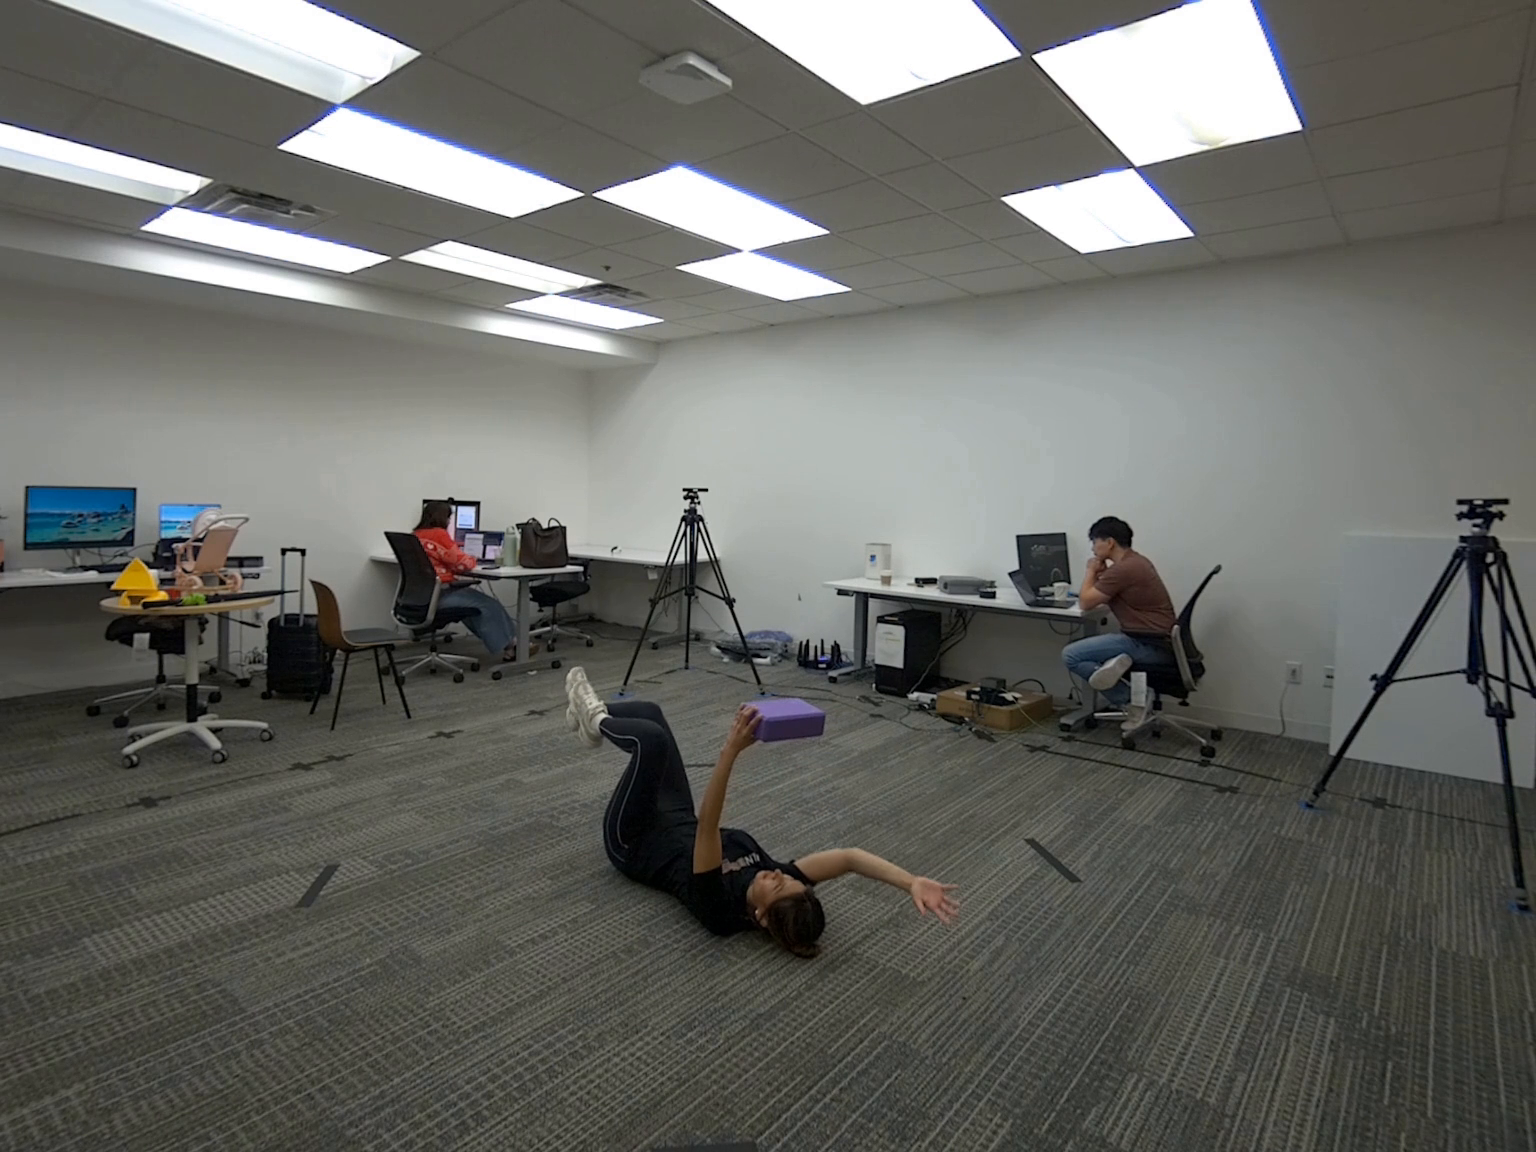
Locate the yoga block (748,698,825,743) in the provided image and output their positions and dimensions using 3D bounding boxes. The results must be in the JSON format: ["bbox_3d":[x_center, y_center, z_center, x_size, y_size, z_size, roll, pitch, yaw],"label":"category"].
[{"bbox_3d":[0.038,0.433,2.561,0.223,0.076,0.154,1,9,-33],"label":"yoga block"}]
